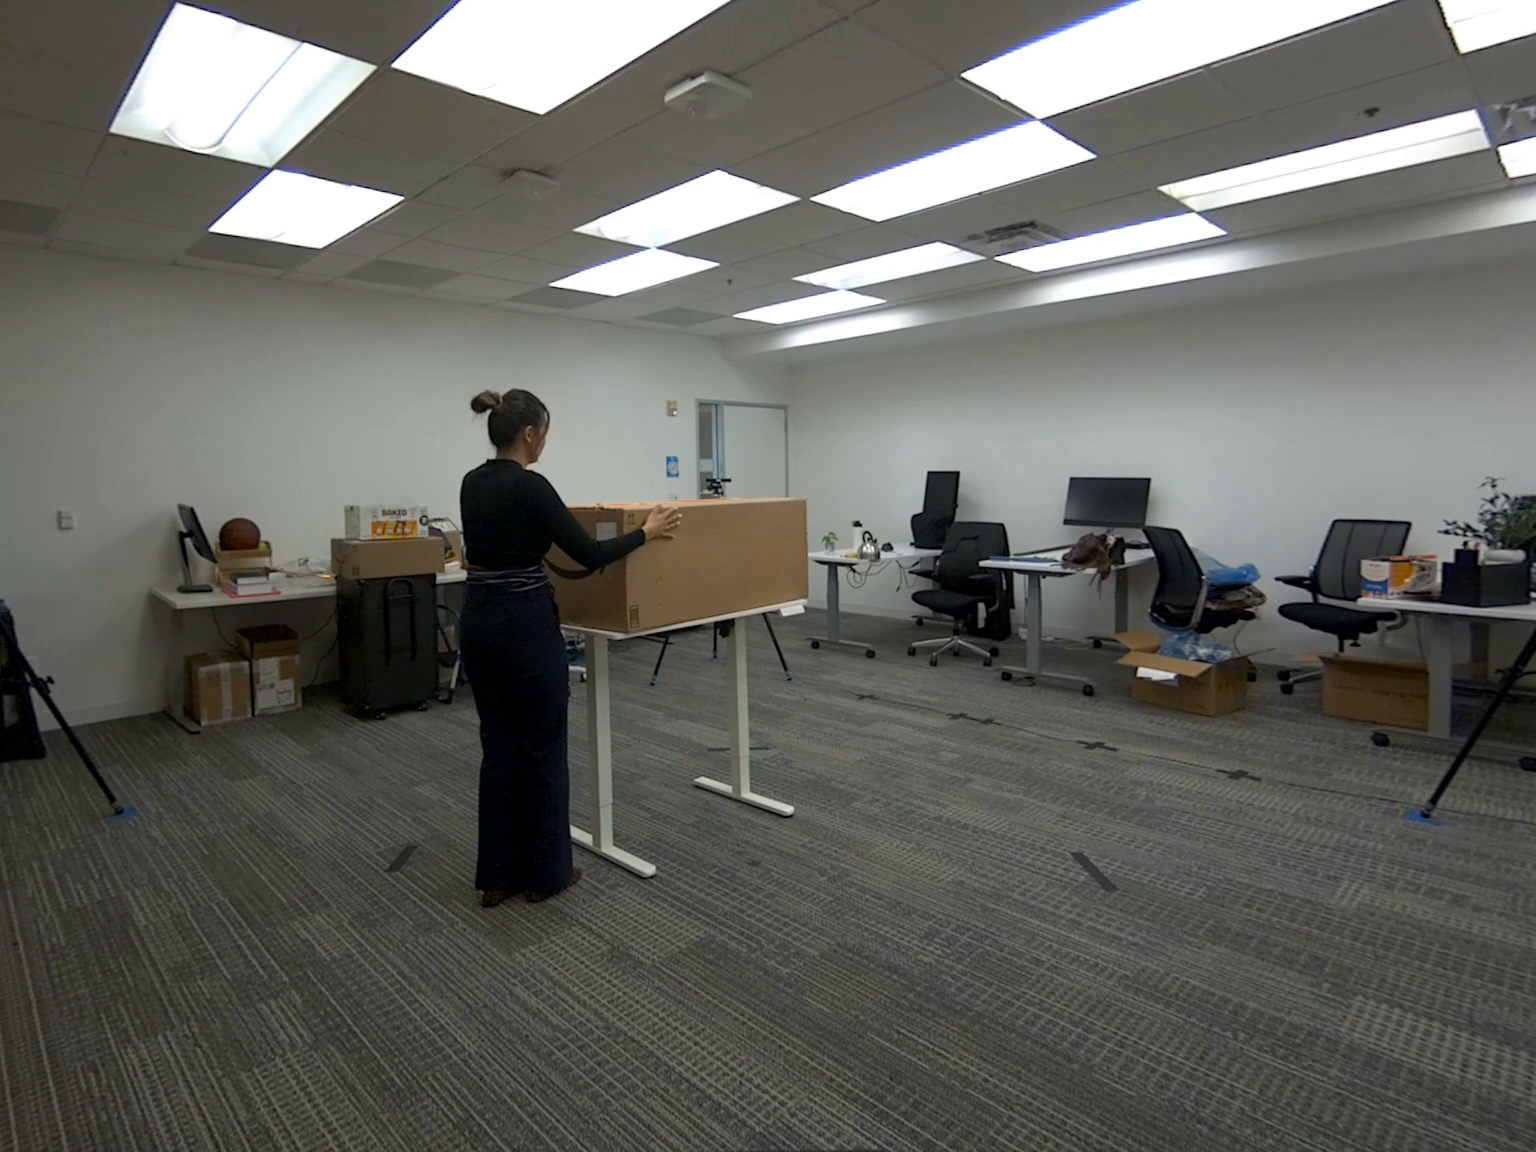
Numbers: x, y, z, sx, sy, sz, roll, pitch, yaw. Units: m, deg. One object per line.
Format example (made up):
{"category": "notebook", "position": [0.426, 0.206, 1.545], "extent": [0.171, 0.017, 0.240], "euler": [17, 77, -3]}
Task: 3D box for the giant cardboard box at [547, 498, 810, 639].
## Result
{"category": "giant cardboard box", "position": [-0.368, -0.078, 3.421], "extent": [0.595, 0.424, 1.000], "euler": [3, 8, 41]}
